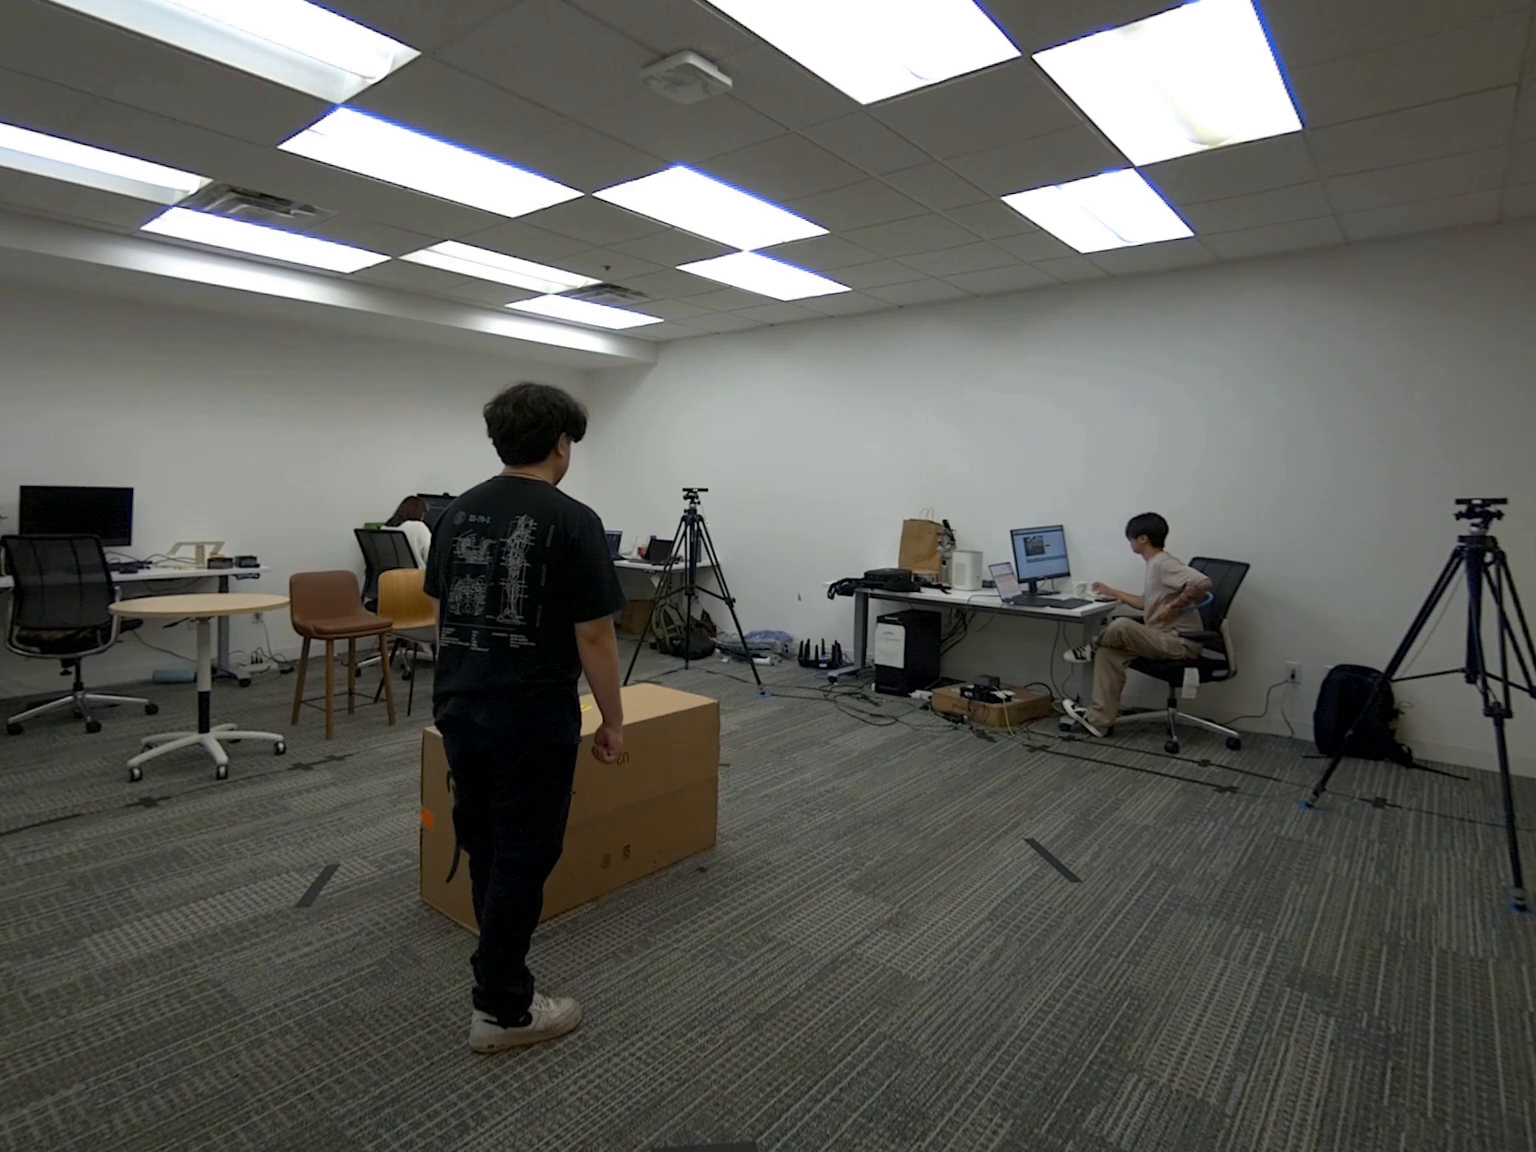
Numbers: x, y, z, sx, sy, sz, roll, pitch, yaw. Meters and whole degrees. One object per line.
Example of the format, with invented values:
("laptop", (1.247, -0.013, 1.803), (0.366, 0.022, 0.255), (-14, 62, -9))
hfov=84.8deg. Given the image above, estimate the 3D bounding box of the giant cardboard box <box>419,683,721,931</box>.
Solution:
("giant cardboard box", (-0.684, 0.780, 3.072), (0.461, 0.582, 0.996), (3, 4, 40))
